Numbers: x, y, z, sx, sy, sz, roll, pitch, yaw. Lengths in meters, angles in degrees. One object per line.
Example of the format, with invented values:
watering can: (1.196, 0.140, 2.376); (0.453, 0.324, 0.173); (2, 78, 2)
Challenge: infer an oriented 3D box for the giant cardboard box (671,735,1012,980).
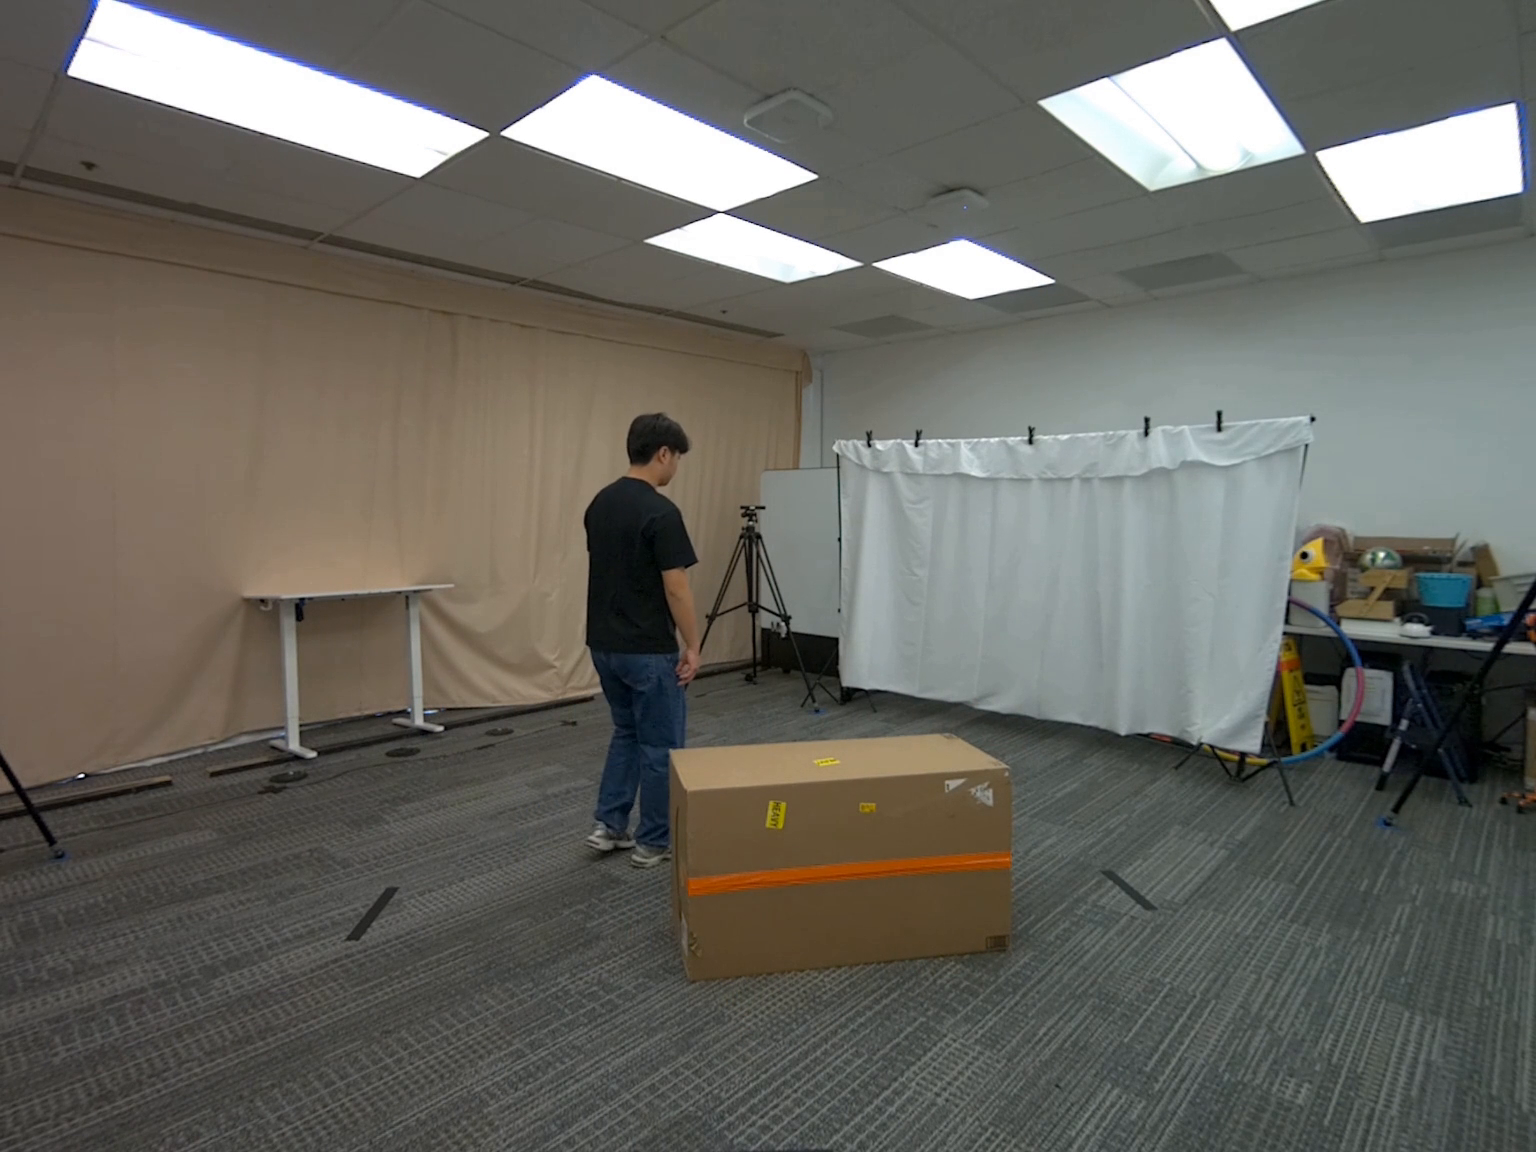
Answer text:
giant cardboard box: (0.216, 0.877, 2.733); (1.015, 0.582, 0.453); (-2, 5, -11)
